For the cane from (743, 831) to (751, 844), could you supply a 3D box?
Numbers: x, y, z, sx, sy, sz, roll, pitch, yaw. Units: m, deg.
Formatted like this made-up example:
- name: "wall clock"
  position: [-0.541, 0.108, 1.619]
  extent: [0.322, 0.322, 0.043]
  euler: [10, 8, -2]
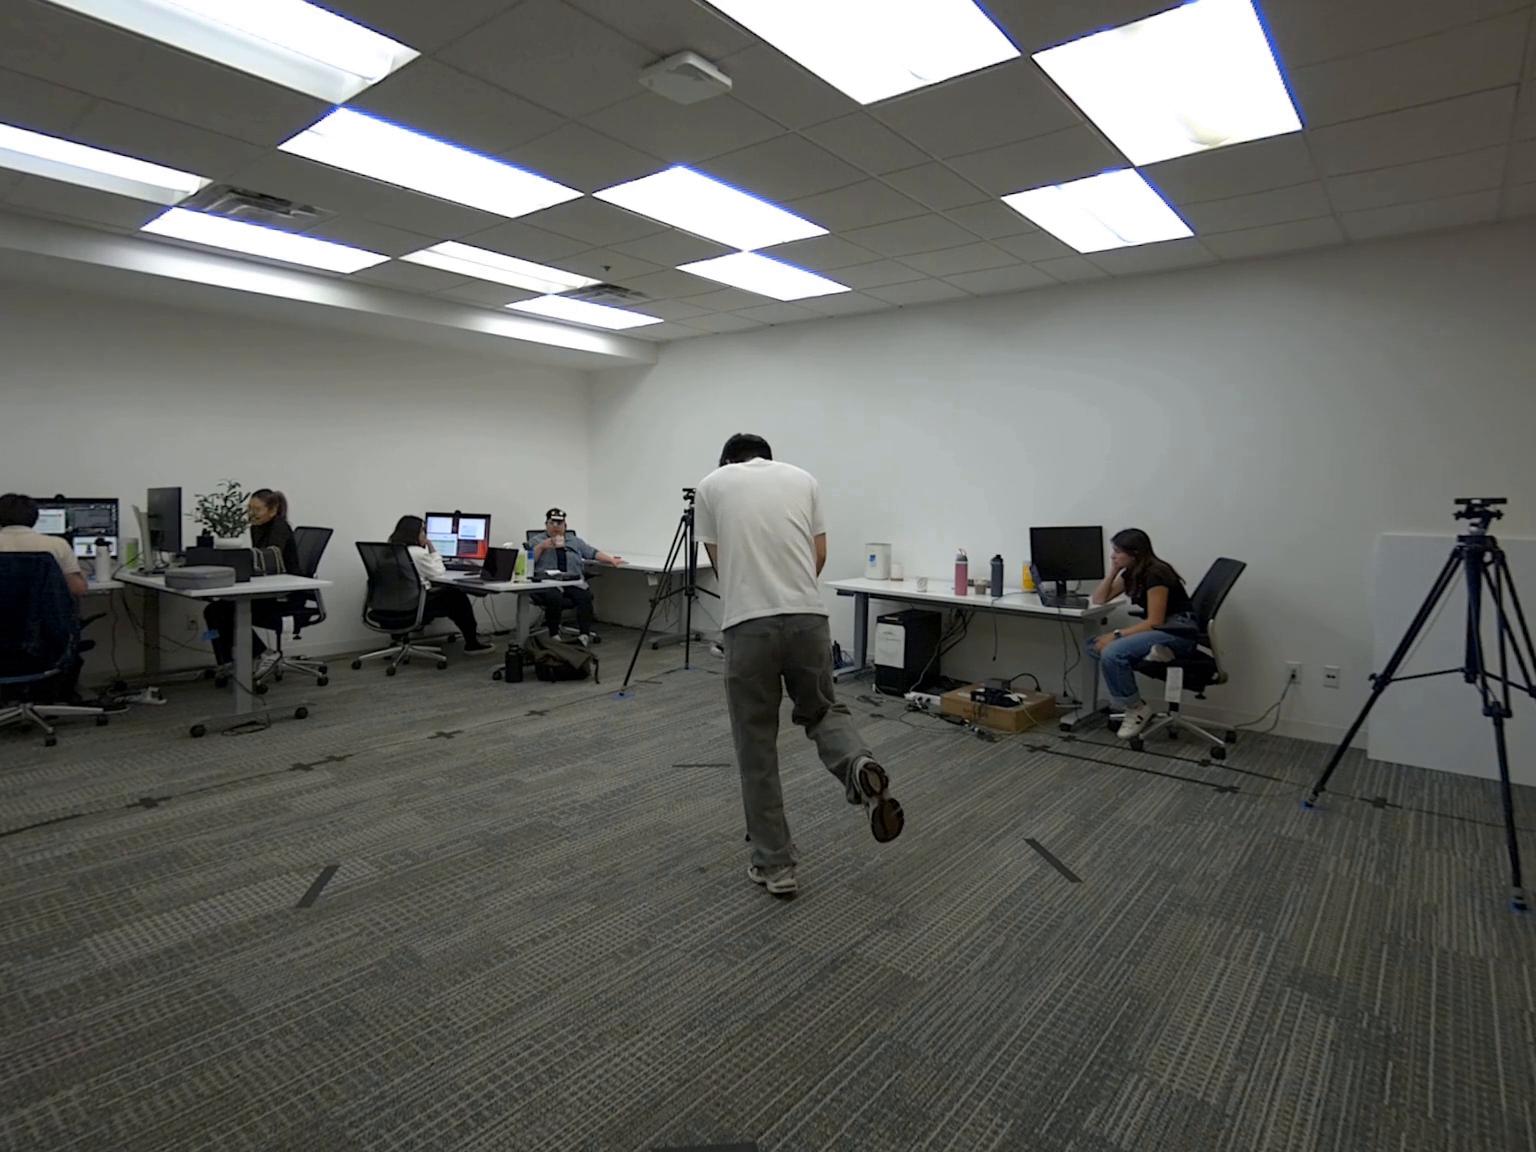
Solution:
- name: "cane"
  position: [0.031, 0.596, 3.289]
  extent: [0.148, 0.905, 0.211]
  euler: [0, 4, -22]
